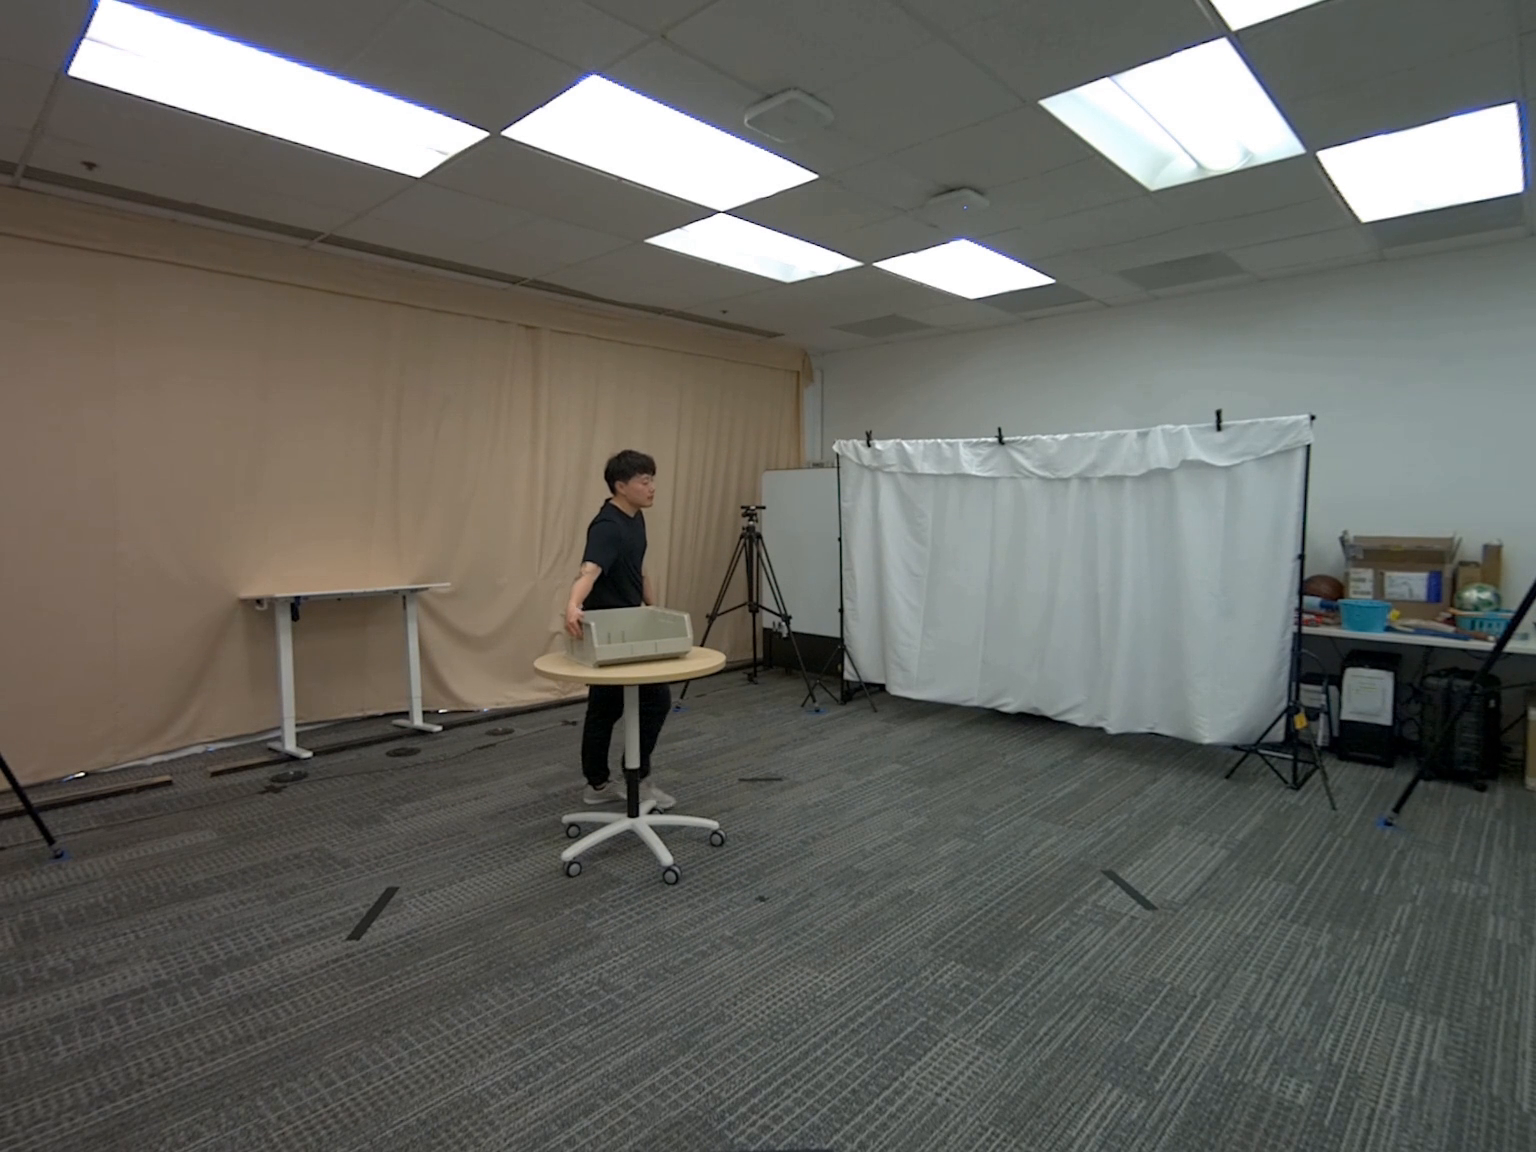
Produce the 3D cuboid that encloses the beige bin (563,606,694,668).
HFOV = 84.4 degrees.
[{"bbox_3d":[-0.572,0.241,3.402,0.411,0.188,0.388,-4,4,-31],"label":"beige bin"}]
